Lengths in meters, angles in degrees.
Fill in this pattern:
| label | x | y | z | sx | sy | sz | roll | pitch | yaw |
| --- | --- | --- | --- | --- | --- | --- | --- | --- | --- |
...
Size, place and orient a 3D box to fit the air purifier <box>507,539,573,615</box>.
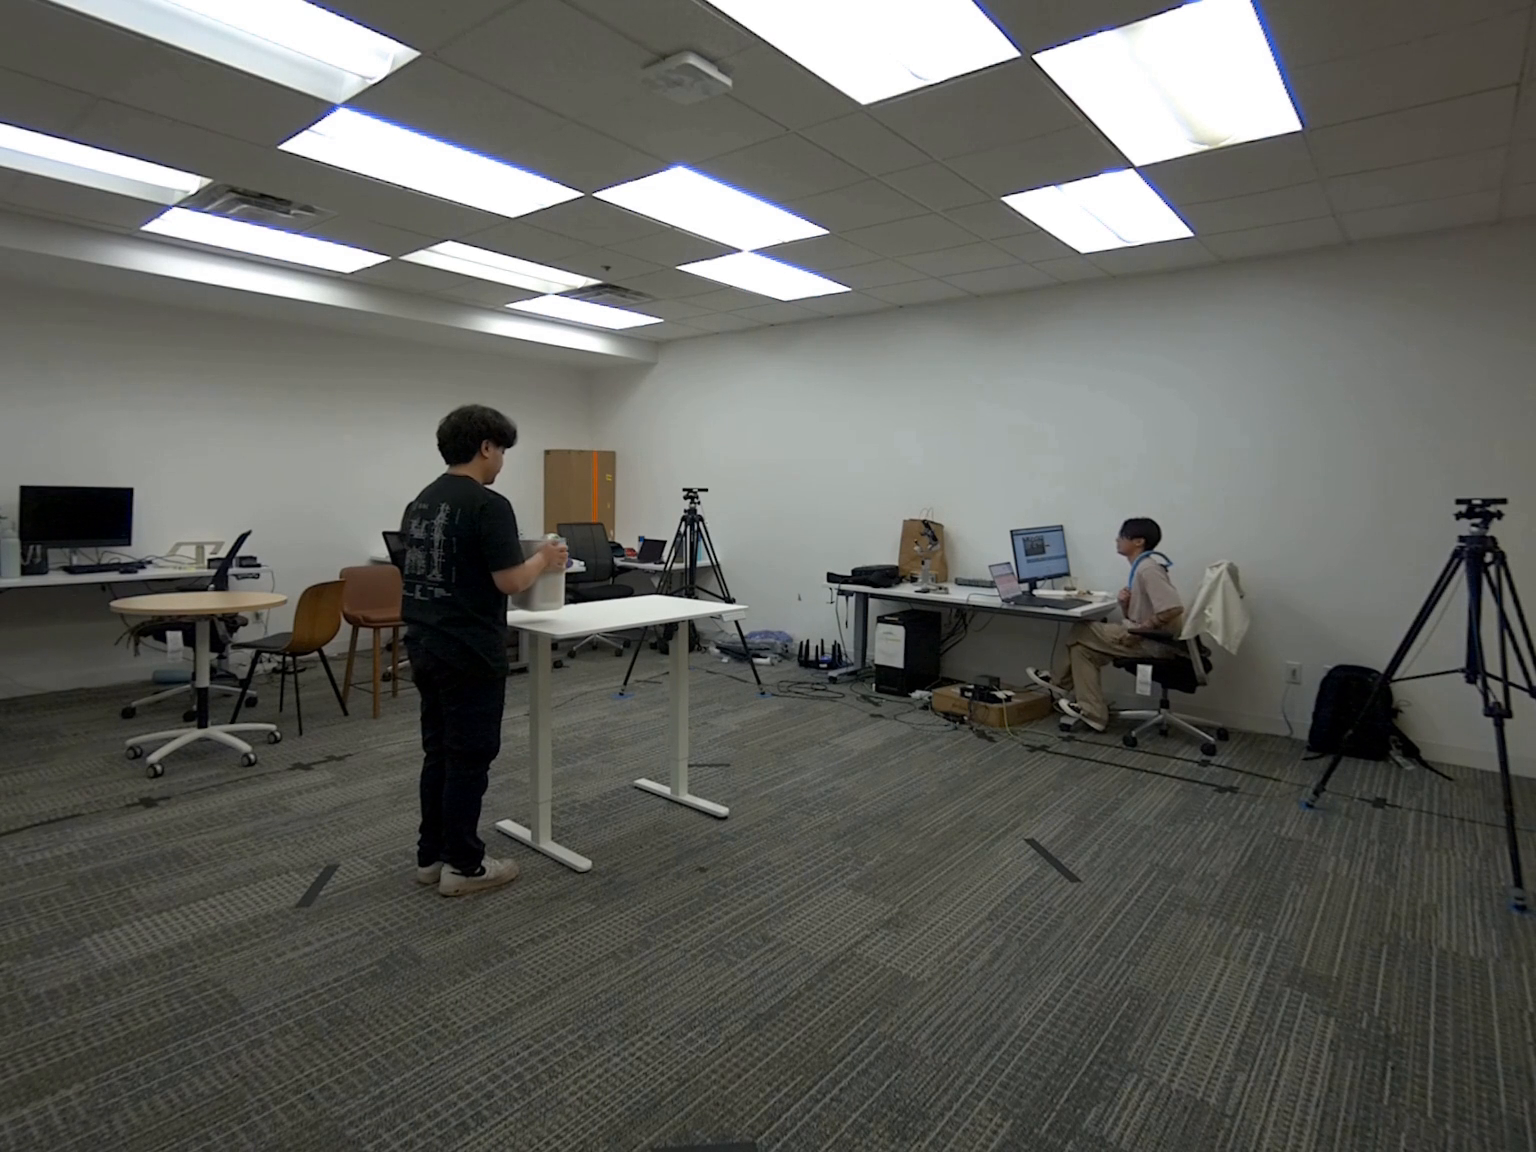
| label | x | y | z | sx | sy | sz | roll | pitch | yaw |
| --- | --- | --- | --- | --- | --- | --- | --- | --- | --- |
| air purifier | -0.875 | -0.002 | 3.196 | 0.177 | 0.265 | 0.166 | 5 | 2 | 38 |
